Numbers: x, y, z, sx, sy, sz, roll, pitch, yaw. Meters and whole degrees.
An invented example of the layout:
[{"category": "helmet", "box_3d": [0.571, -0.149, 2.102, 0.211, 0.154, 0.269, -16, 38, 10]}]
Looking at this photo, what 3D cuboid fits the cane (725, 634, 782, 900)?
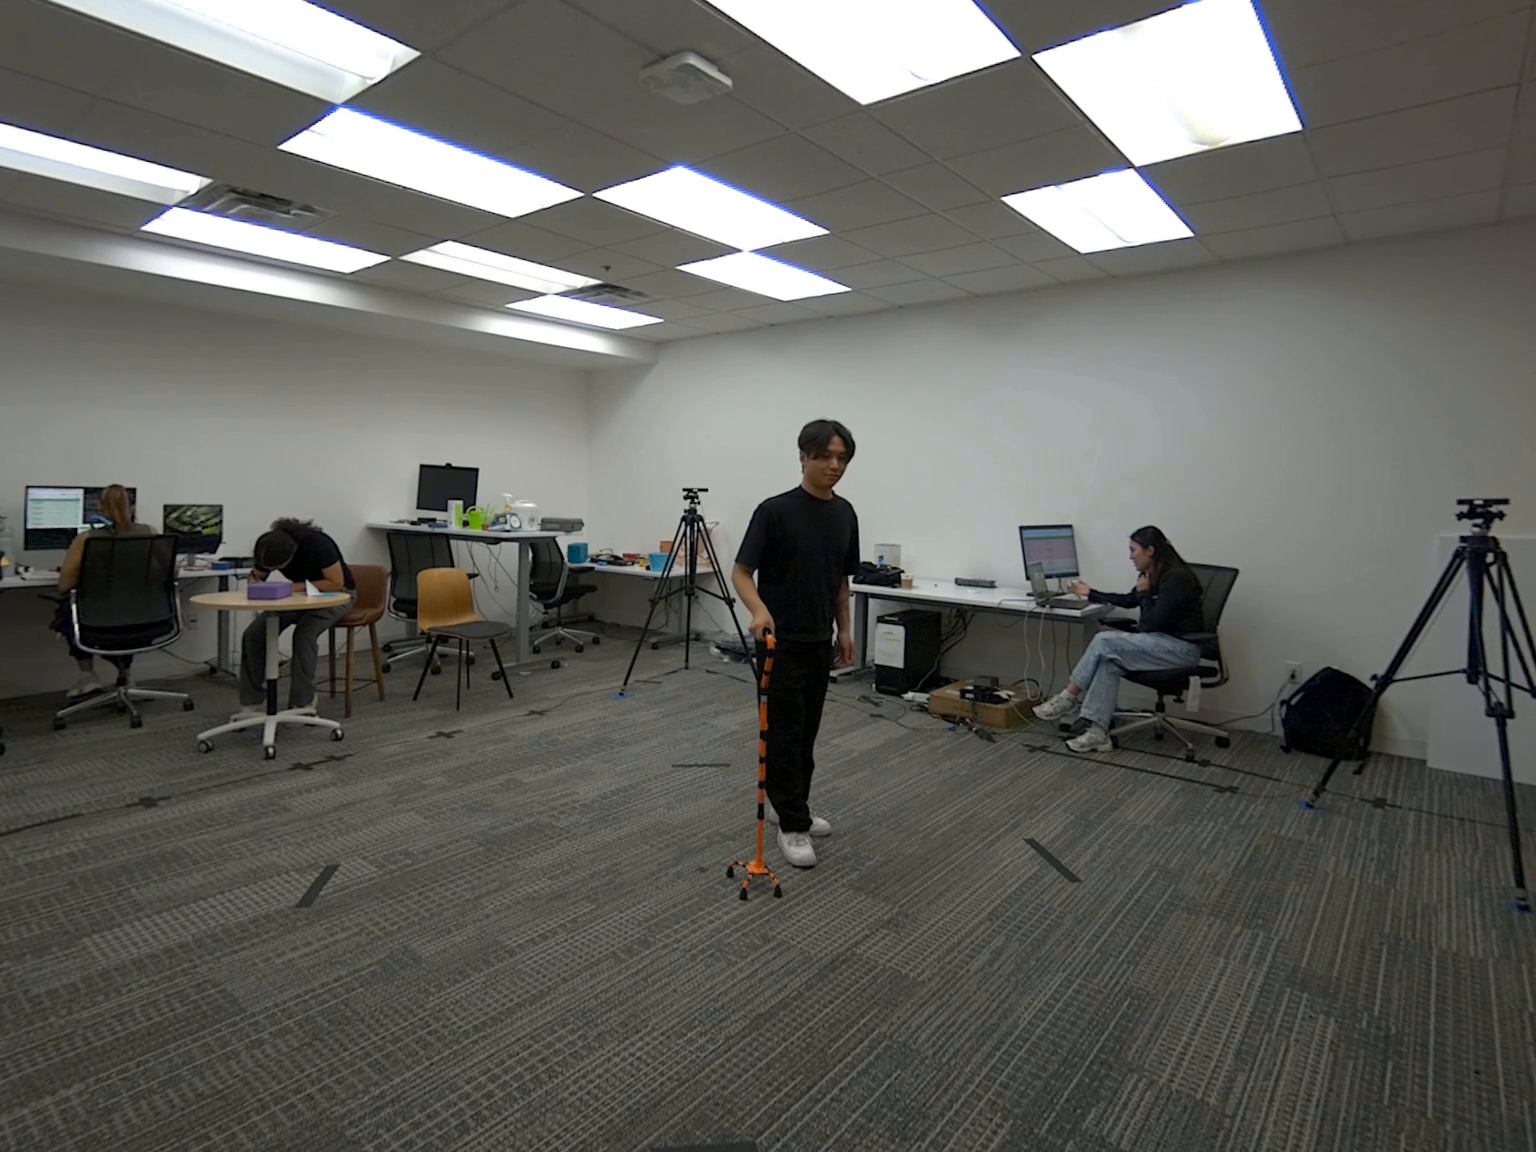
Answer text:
[{"category": "cane", "box_3d": [-0.046, 0.638, 2.970, 0.149, 0.906, 0.211, 1, 3, -18]}]
